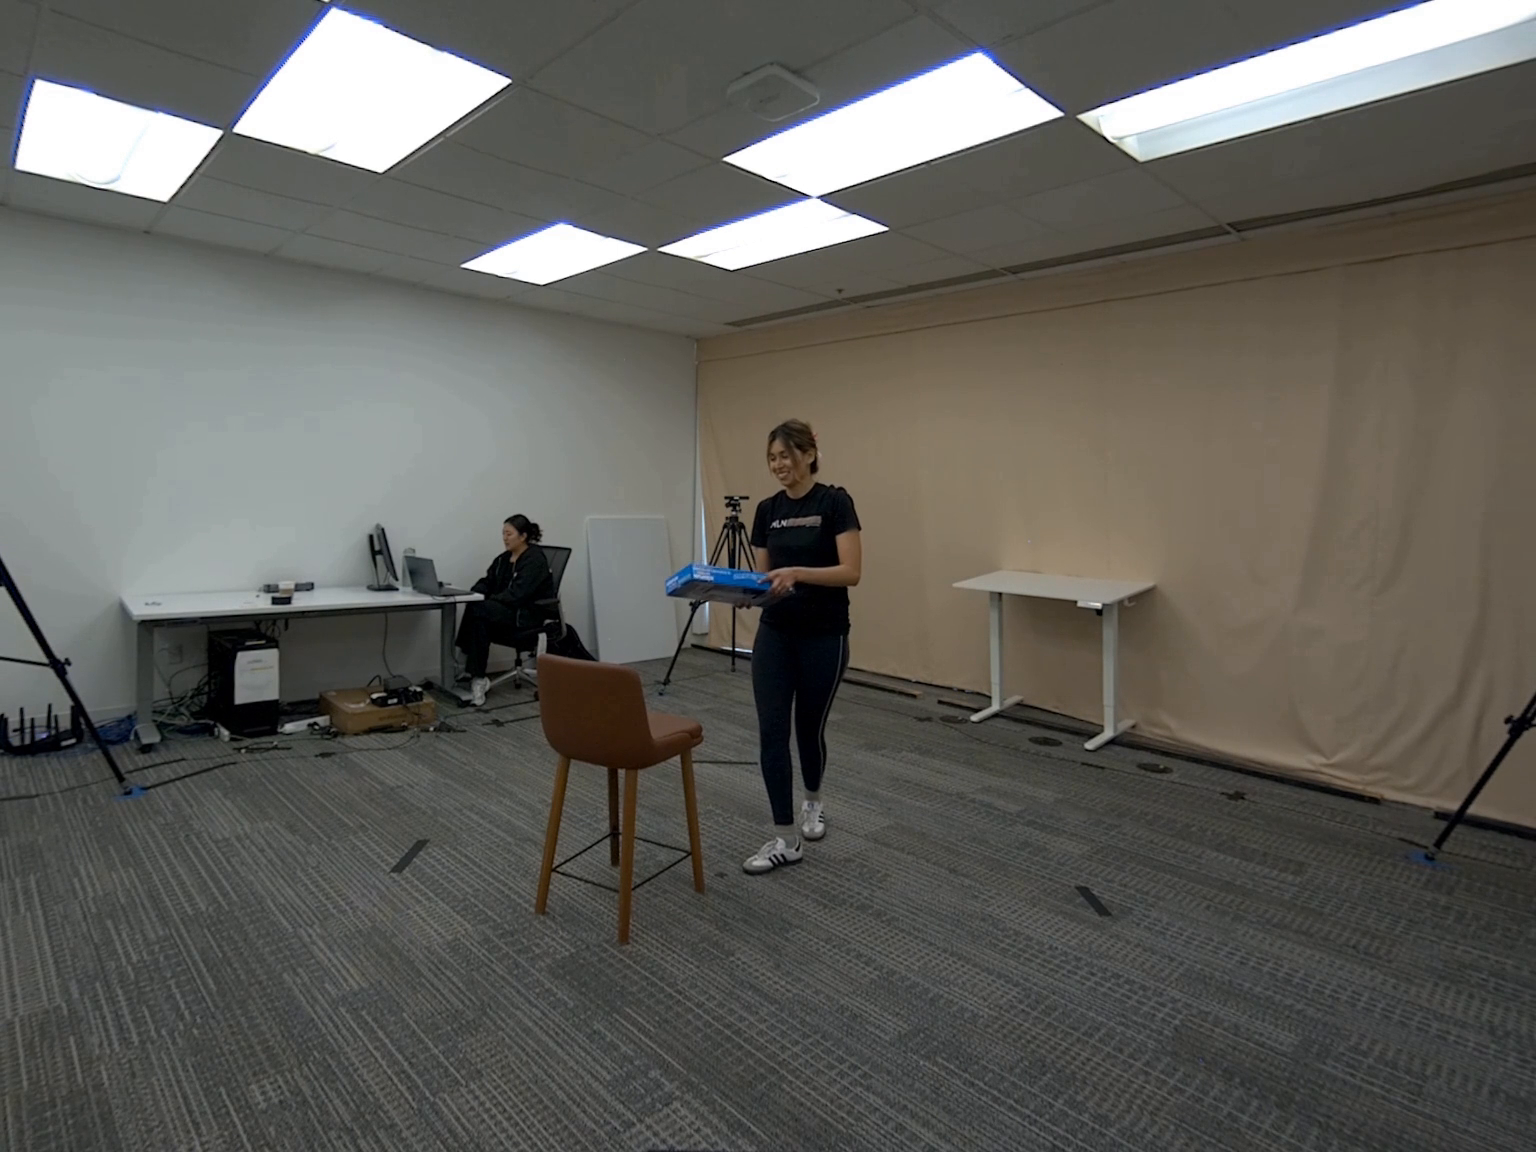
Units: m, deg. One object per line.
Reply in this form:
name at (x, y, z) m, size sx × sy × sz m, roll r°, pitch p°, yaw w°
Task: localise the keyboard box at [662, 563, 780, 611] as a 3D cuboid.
keyboard box at (-0.135, 0.042, 2.959) m, size 0.426 × 0.060 × 0.177 m, roll 9°, pitch -26°, yaw -34°
